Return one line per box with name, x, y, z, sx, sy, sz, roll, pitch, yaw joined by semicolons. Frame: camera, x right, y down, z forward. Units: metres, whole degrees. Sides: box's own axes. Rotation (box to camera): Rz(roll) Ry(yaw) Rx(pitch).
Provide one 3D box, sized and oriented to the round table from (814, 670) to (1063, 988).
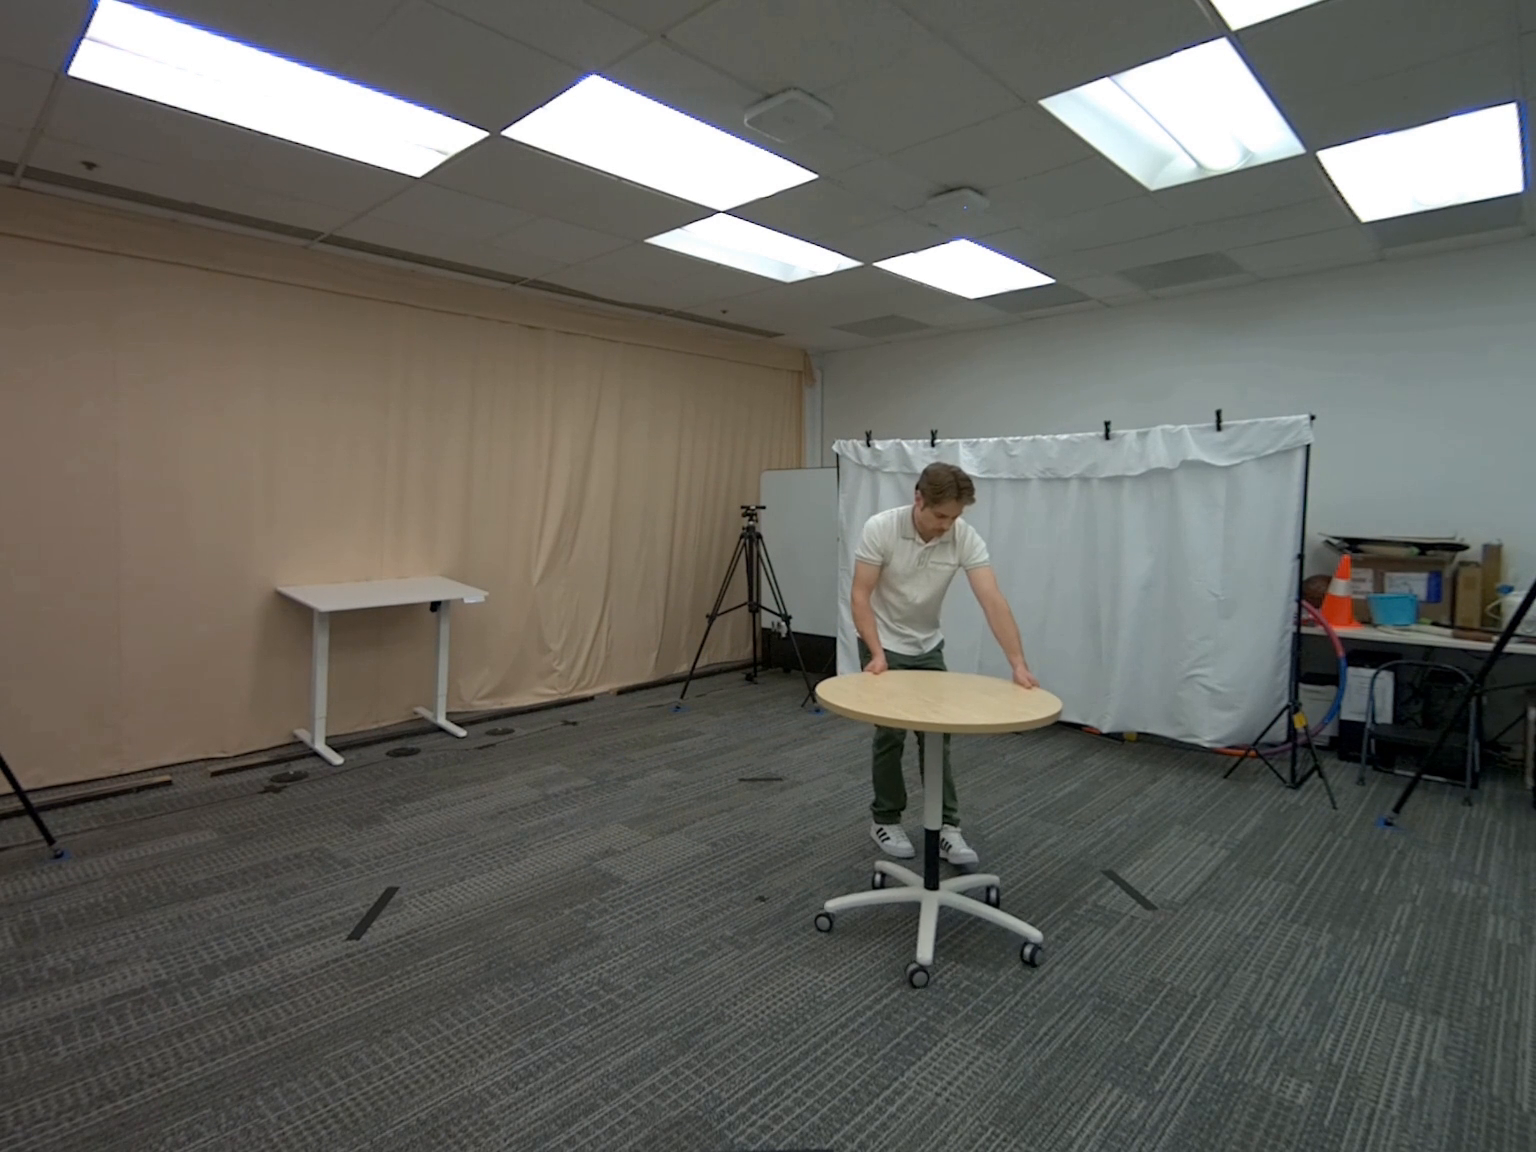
round table;0.531;0.765;2.758;0.784;0.785;0.788;0;4;-2
